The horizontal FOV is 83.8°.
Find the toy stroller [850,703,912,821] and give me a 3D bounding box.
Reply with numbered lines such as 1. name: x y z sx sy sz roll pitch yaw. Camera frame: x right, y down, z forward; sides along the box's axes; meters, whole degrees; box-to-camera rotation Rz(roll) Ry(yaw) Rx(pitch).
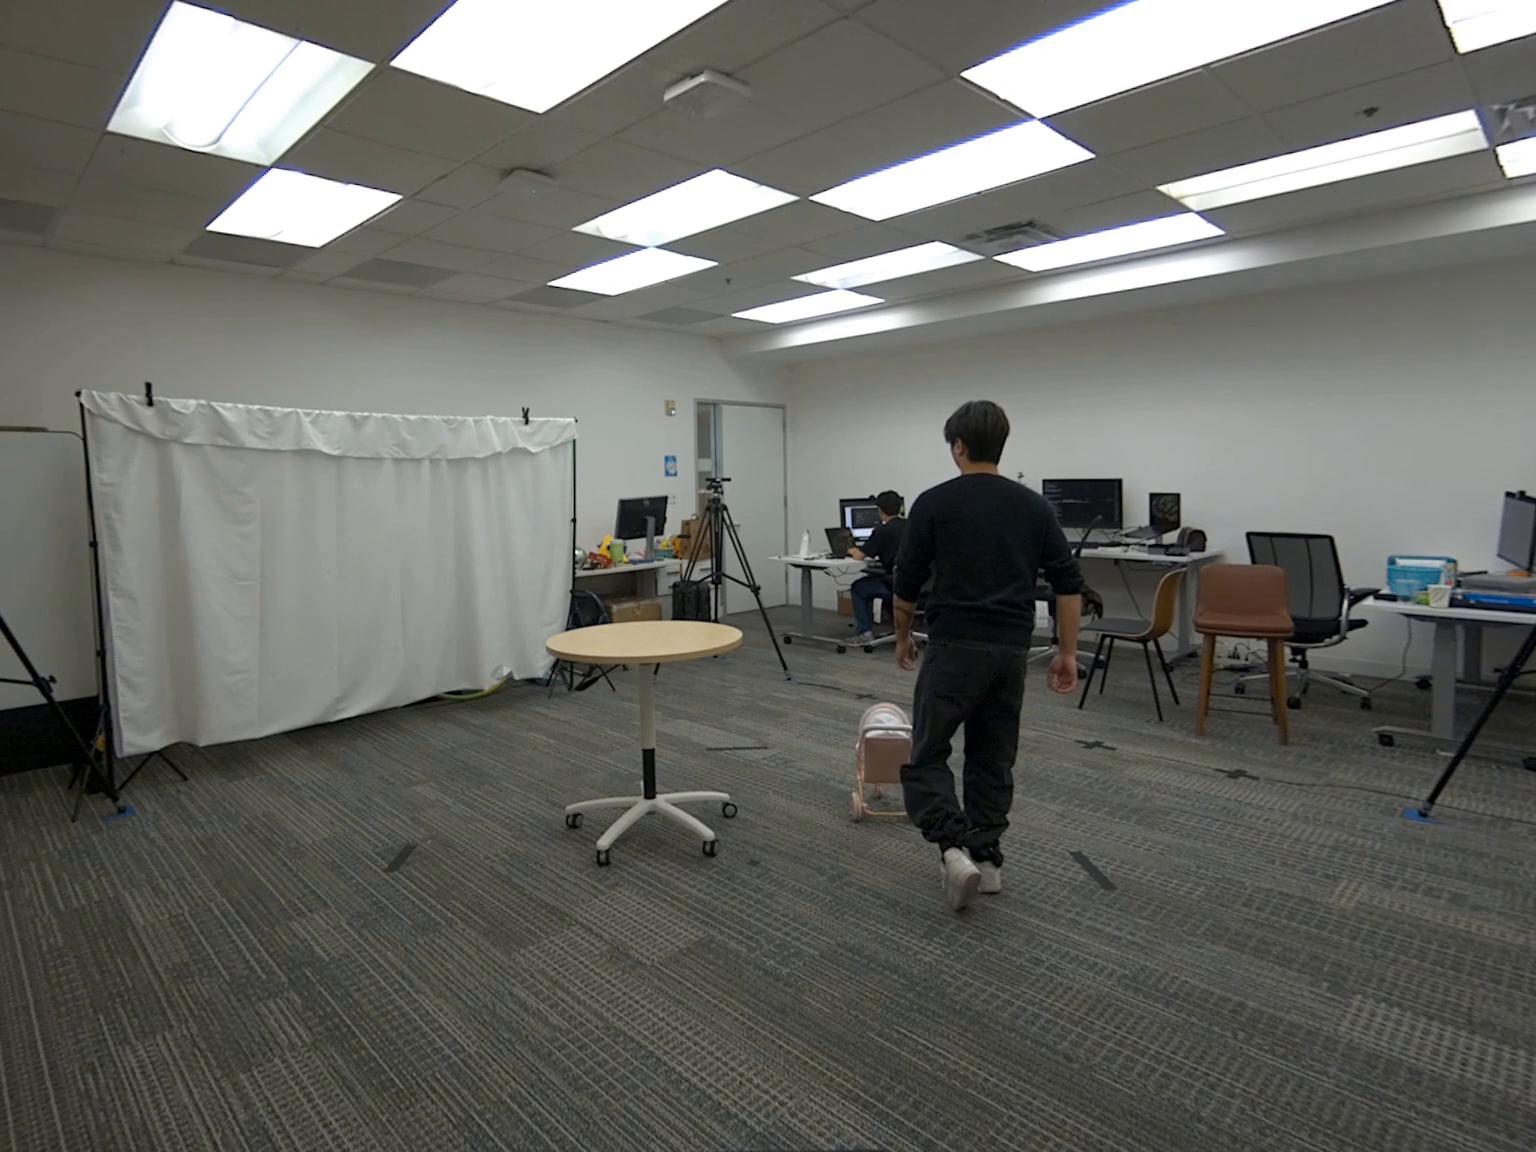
1. toy stroller: 0.485 0.762 3.533 0.283 0.526 0.345 0 20 5
